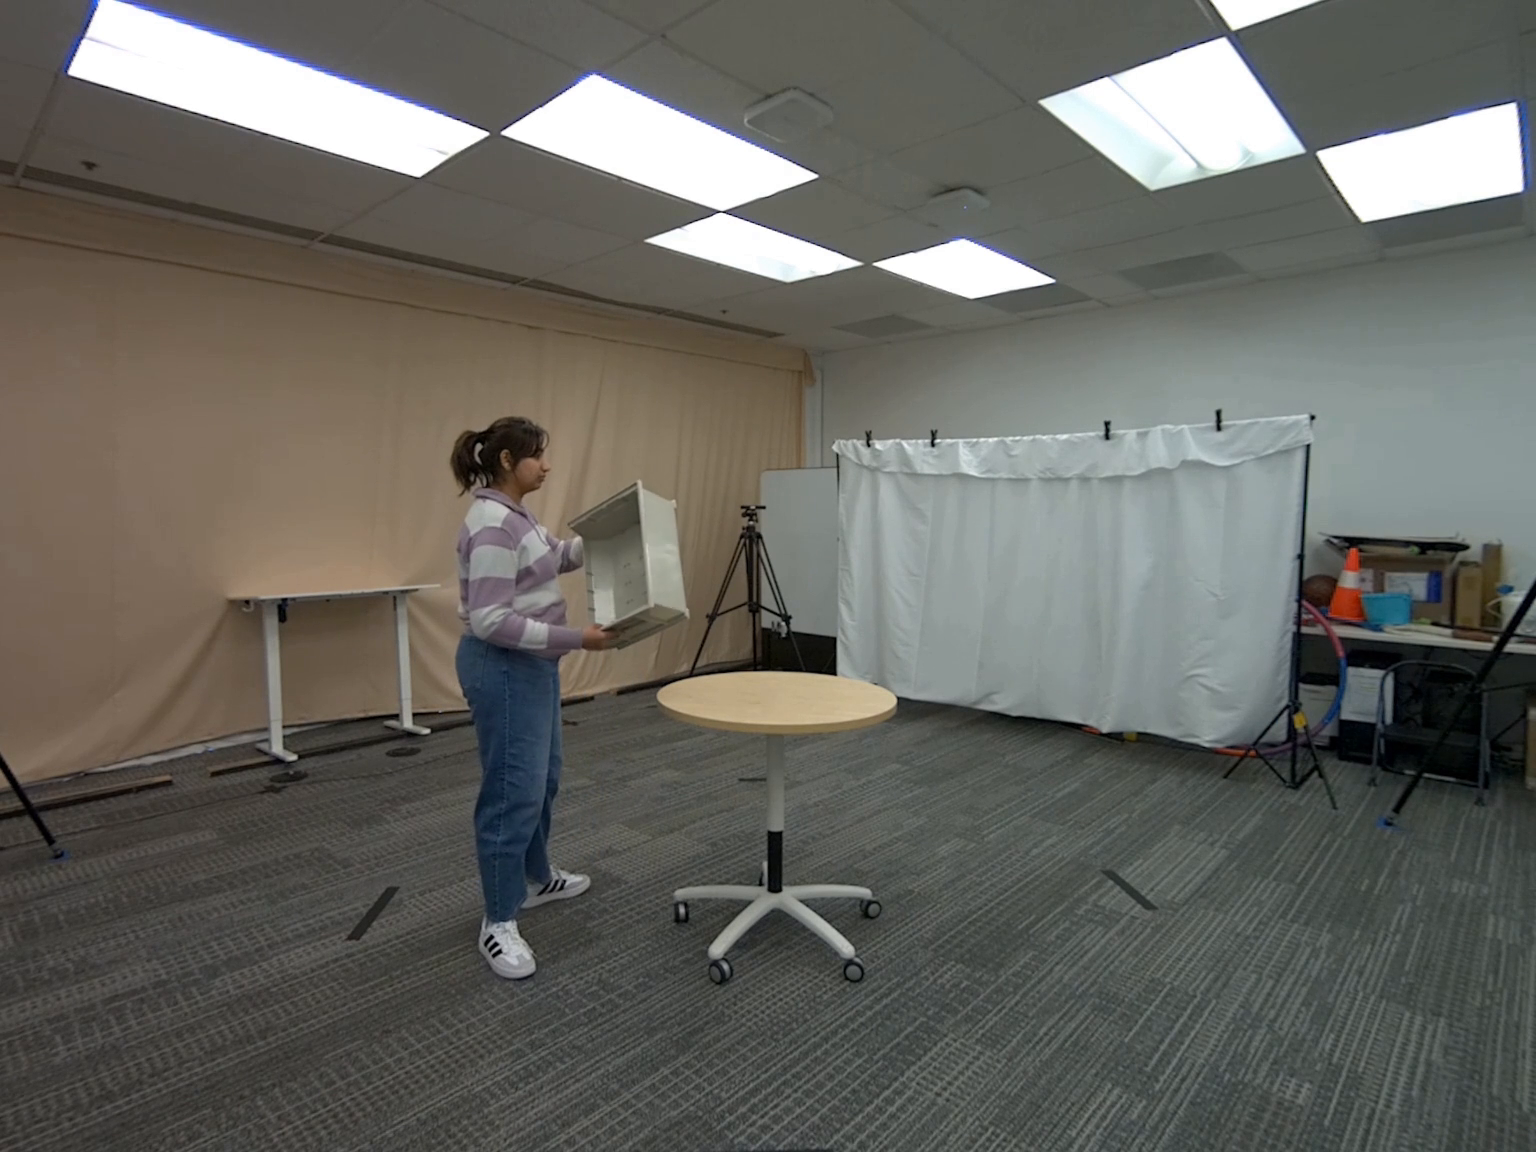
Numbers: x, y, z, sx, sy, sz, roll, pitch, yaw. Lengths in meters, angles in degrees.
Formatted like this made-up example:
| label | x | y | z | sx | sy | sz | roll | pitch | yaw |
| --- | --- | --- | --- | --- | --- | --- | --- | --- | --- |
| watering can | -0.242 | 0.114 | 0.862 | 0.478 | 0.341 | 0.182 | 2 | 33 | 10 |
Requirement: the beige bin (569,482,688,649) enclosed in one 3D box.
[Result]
| label | x | y | z | sx | sy | sz | roll | pitch | yaw |
| --- | --- | --- | --- | --- | --- | --- | --- | --- | --- |
| beige bin | -0.449 | -0.016 | 2.645 | 0.384 | 0.430 | 0.182 | -25 | -29 | 30 |
